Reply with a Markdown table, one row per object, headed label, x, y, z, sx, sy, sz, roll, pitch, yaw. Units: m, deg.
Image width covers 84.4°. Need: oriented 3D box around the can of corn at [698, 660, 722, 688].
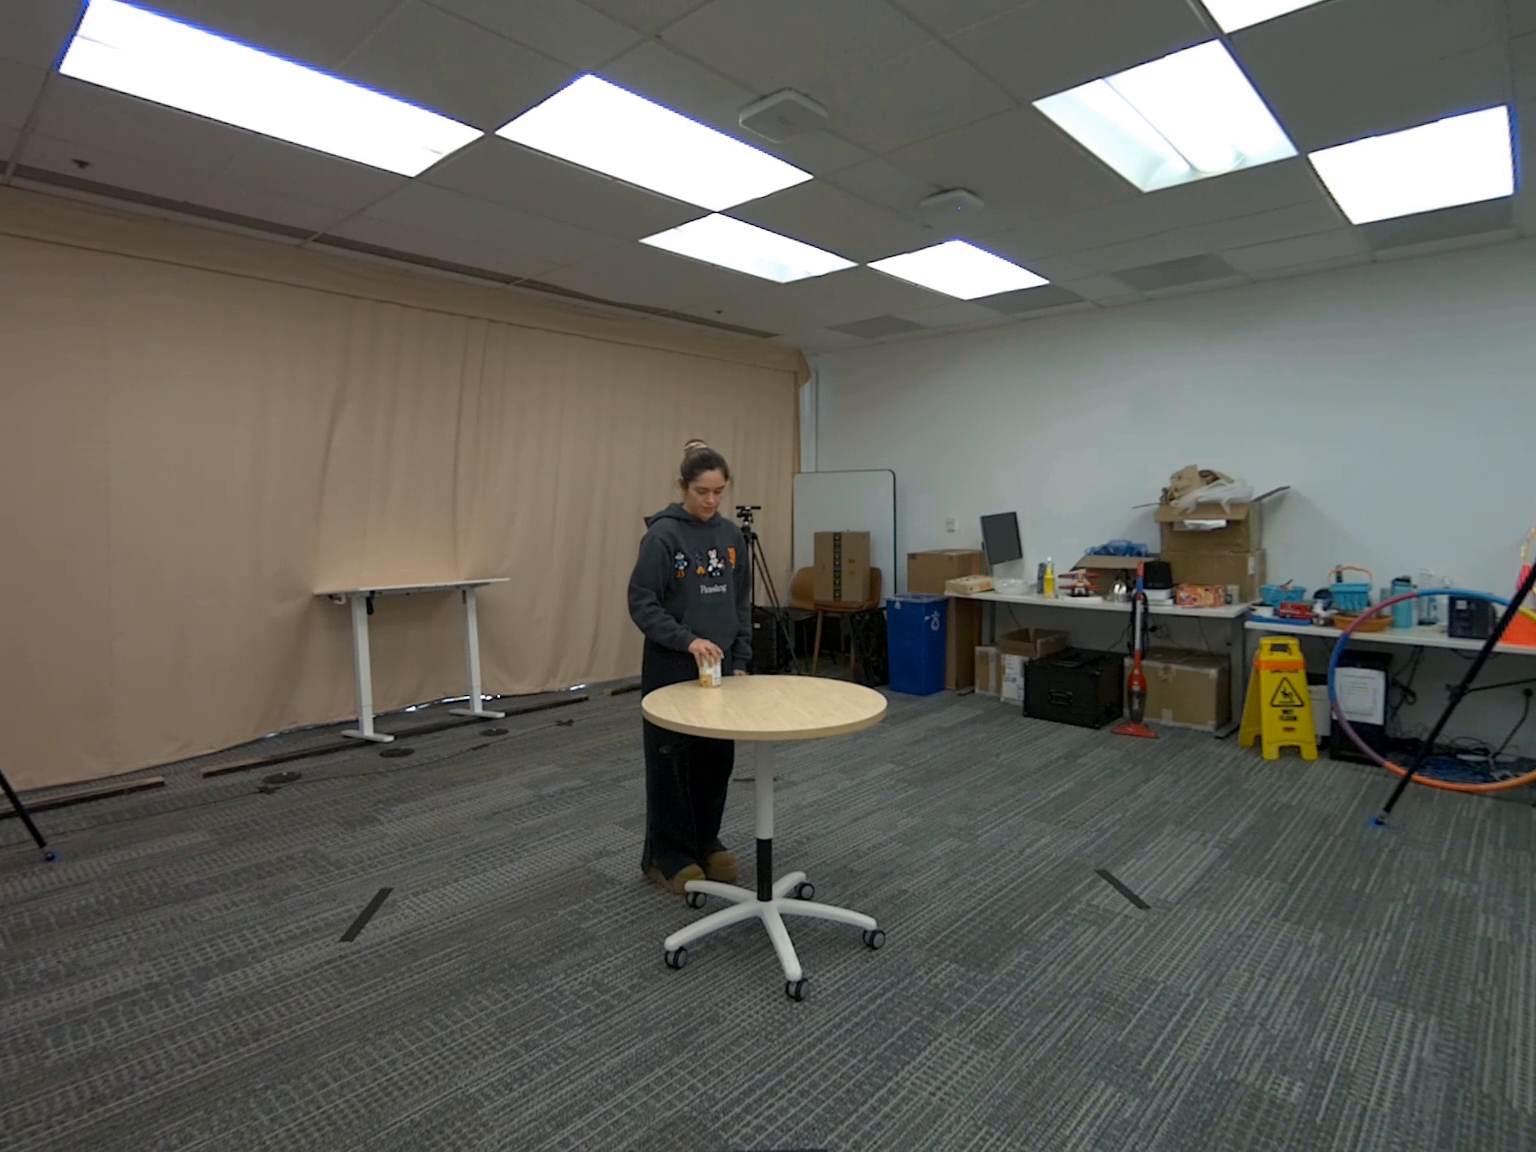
| label | x | y | z | sx | sy | sz | roll | pitch | yaw |
| --- | --- | --- | --- | --- | --- | --- | --- | --- | --- |
| can of corn | -0.183 | 0.317 | 2.866 | 0.074 | 0.111 | 0.074 | -4 | 2 | -2 |
